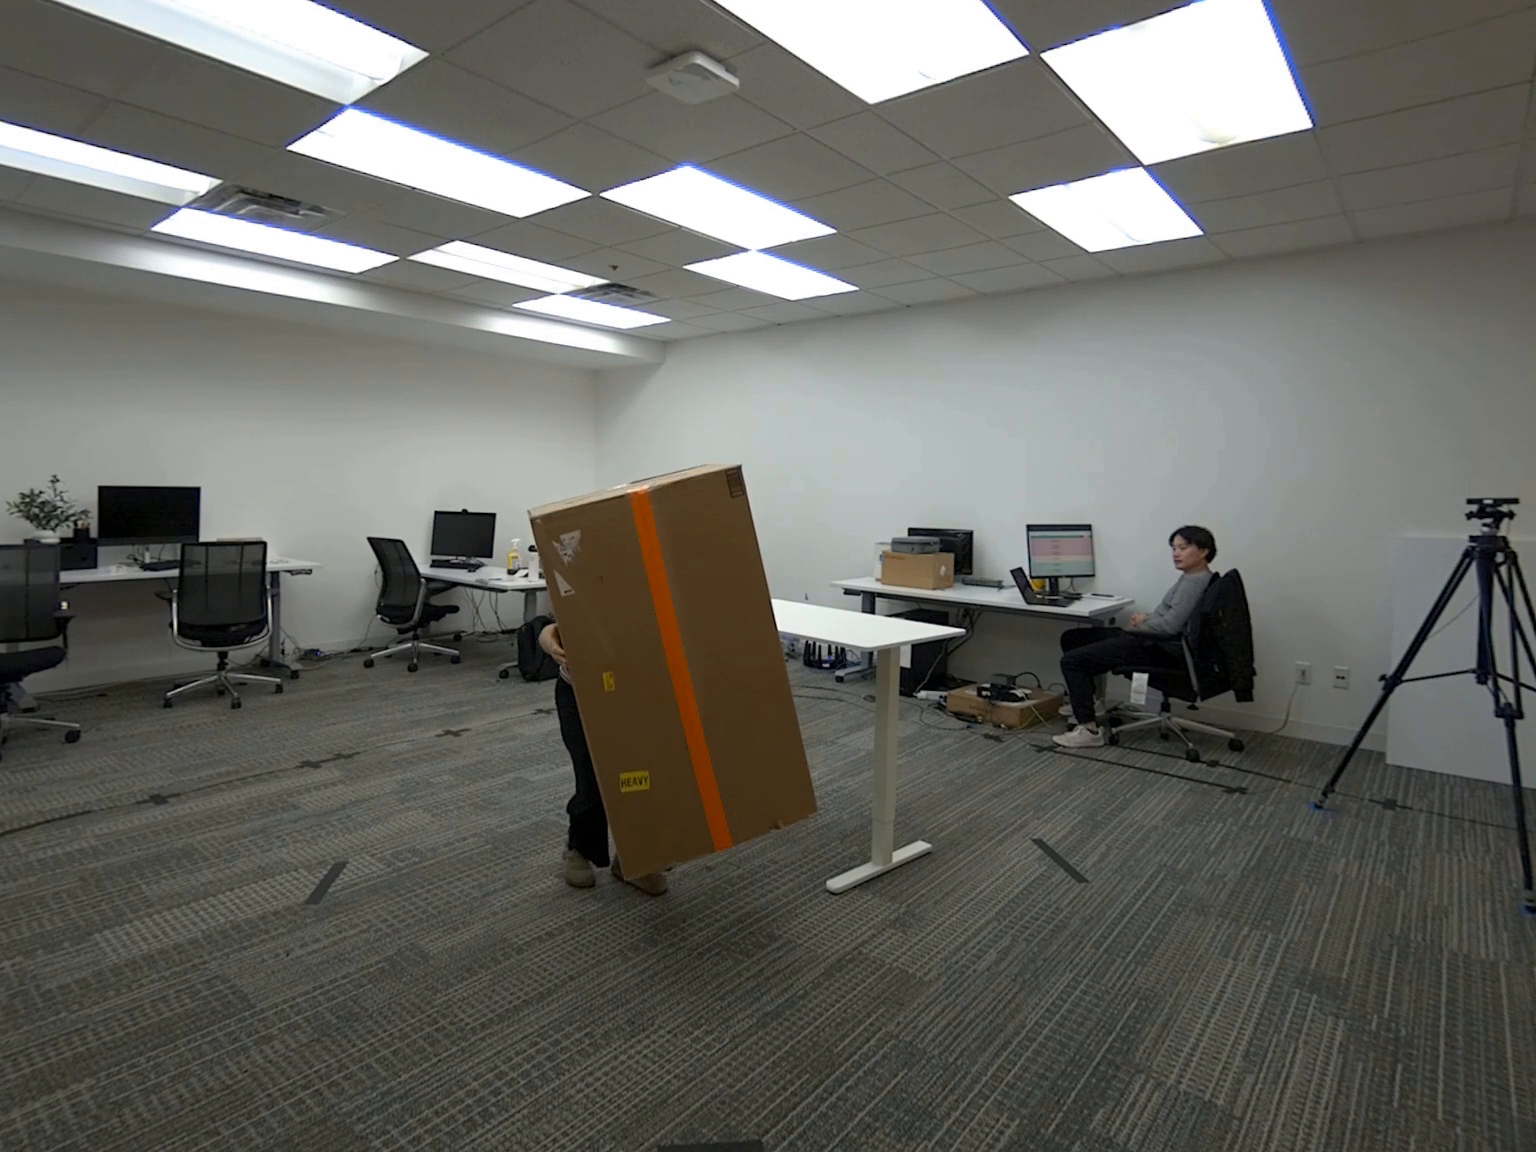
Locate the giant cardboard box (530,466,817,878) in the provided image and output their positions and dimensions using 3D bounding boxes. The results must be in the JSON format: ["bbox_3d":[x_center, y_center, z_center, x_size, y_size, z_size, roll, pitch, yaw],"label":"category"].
[{"bbox_3d":[-0.301,0.231,2.490,0.572,1.017,0.434,-15,7,-13],"label":"giant cardboard box"}]
